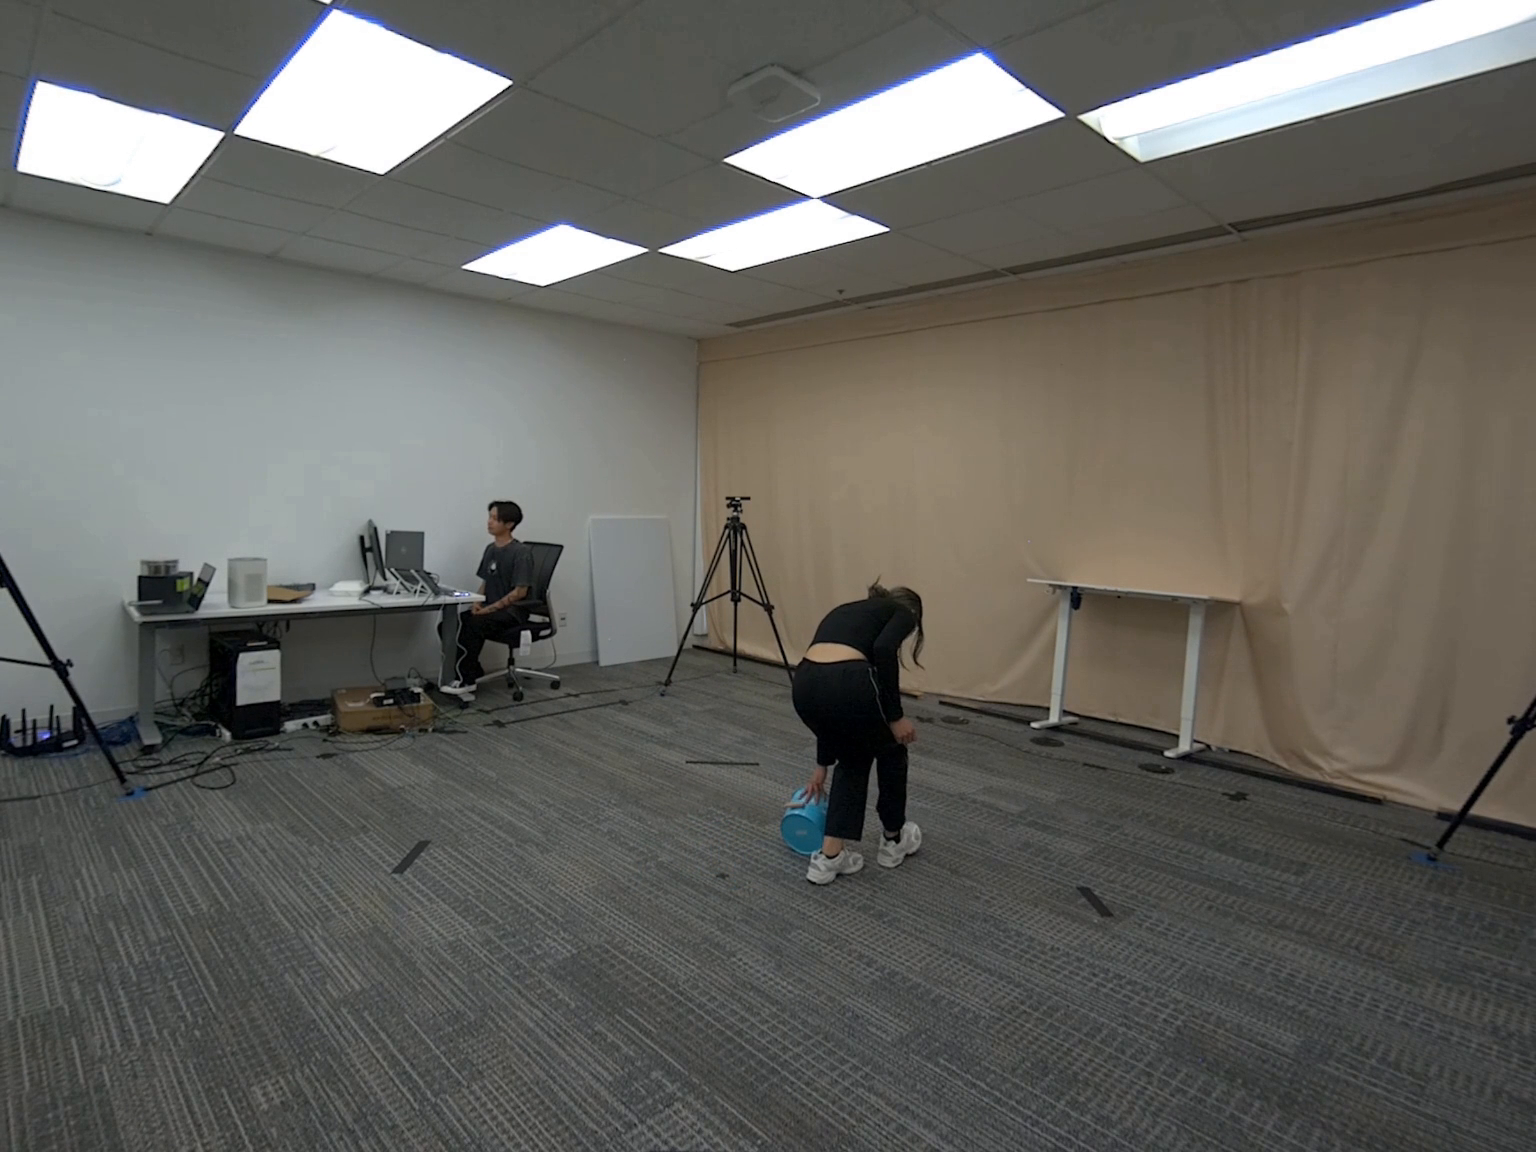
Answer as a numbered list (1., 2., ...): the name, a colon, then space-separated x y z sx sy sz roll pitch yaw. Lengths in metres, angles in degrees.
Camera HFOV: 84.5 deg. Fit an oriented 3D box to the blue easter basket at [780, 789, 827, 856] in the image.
1. blue easter basket: 0.156 0.979 3.359 0.249 0.240 0.154 4 19 29
